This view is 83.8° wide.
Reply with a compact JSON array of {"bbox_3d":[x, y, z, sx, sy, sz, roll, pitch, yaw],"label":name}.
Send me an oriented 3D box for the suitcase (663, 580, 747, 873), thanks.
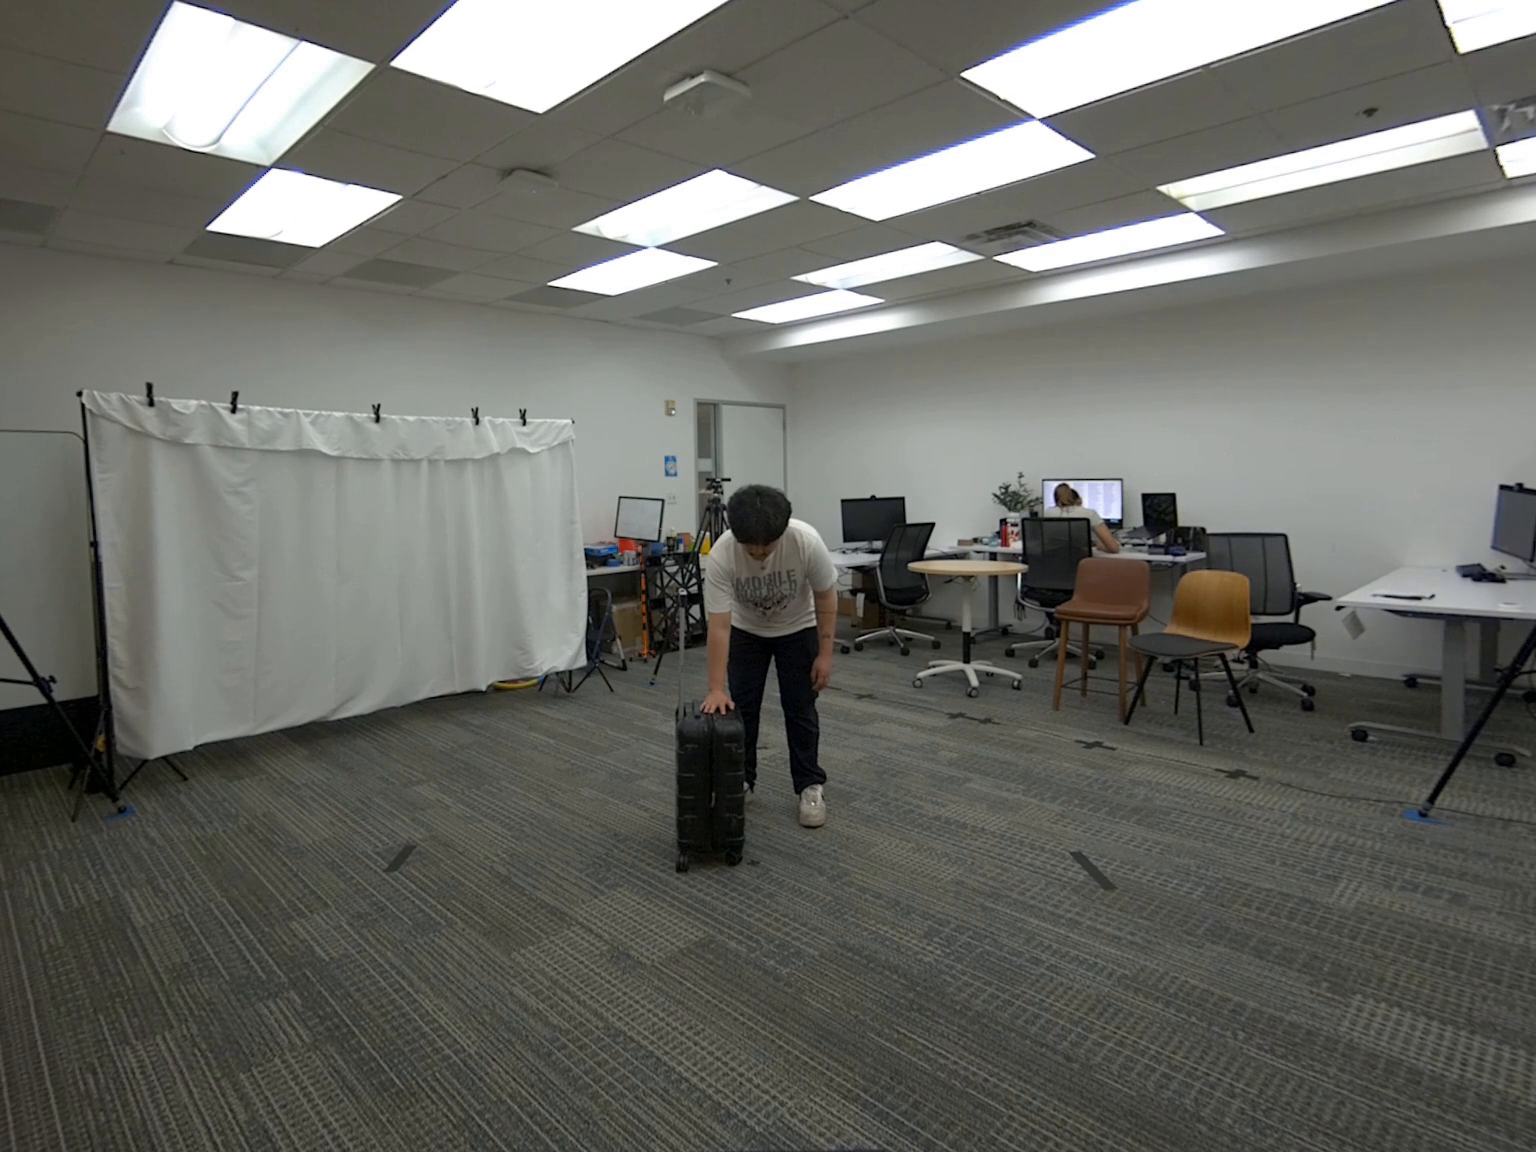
[{"bbox_3d":[-0.221,0.560,3.201,0.256,0.975,0.387,2,4,-5],"label":"suitcase"}]
